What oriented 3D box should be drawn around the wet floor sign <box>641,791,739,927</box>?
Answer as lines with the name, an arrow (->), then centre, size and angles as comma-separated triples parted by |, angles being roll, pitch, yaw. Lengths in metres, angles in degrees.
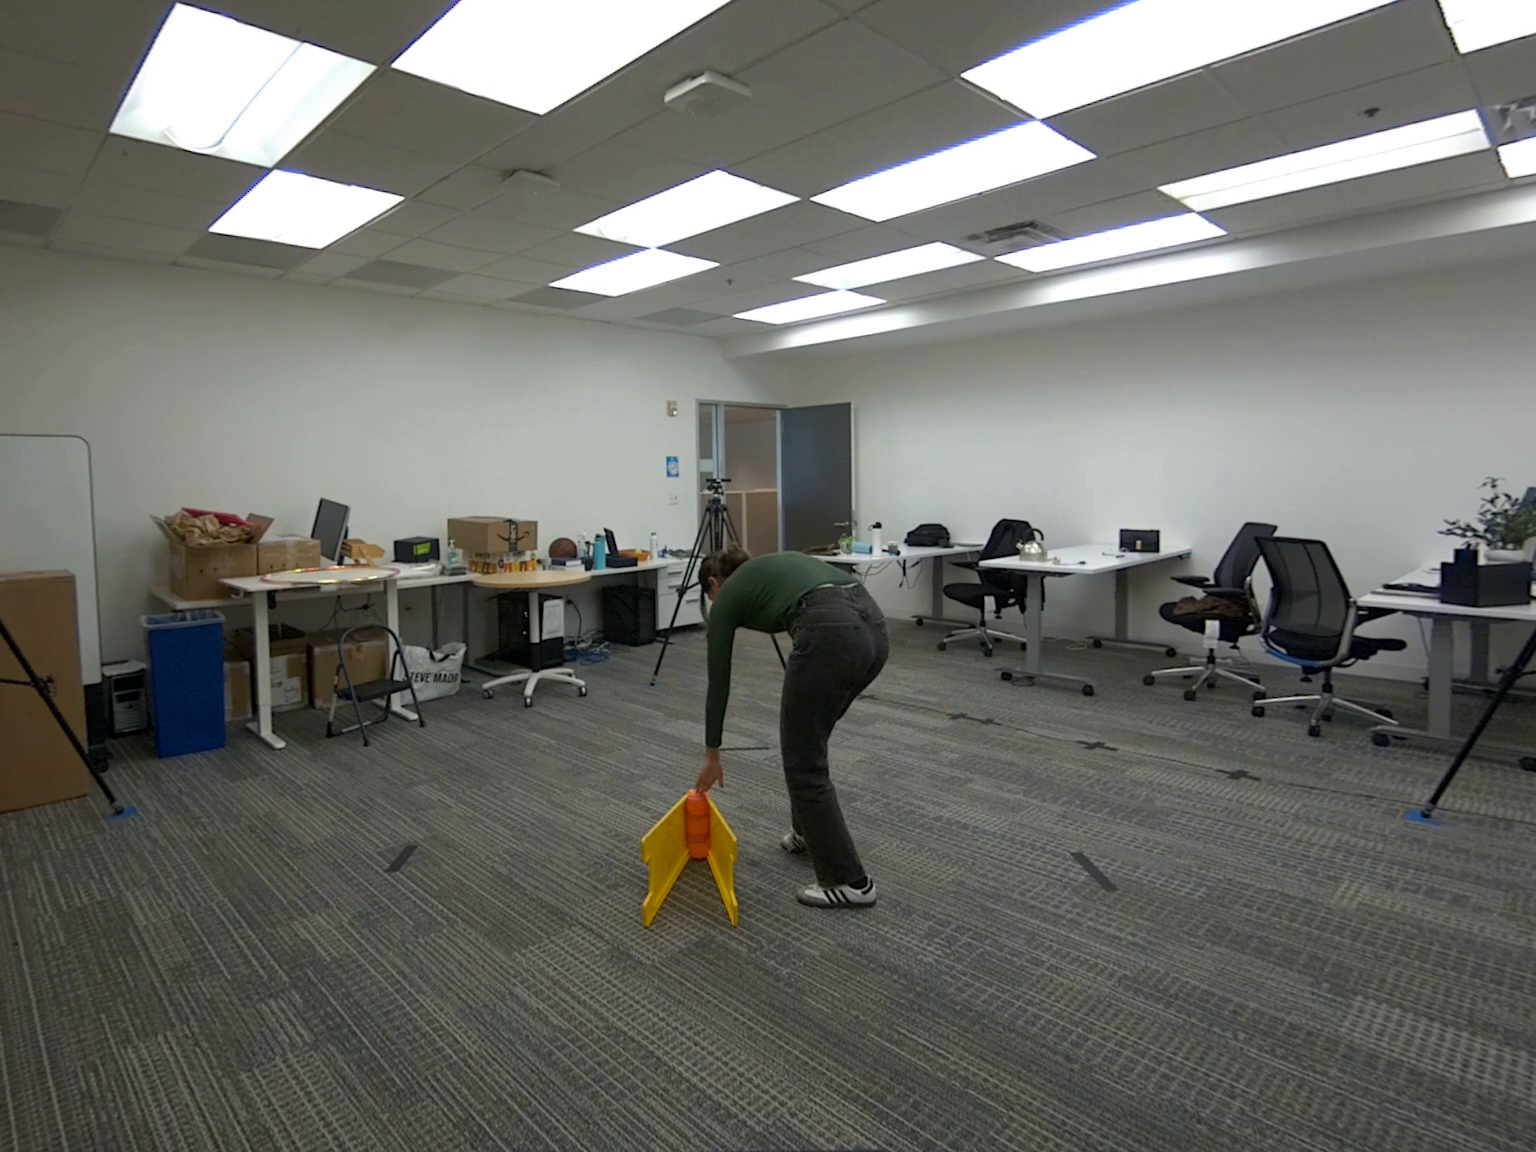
wet floor sign -> -0.255, 0.928, 2.986 | 0.289, 0.281, 0.648 | -1, 4, -2
